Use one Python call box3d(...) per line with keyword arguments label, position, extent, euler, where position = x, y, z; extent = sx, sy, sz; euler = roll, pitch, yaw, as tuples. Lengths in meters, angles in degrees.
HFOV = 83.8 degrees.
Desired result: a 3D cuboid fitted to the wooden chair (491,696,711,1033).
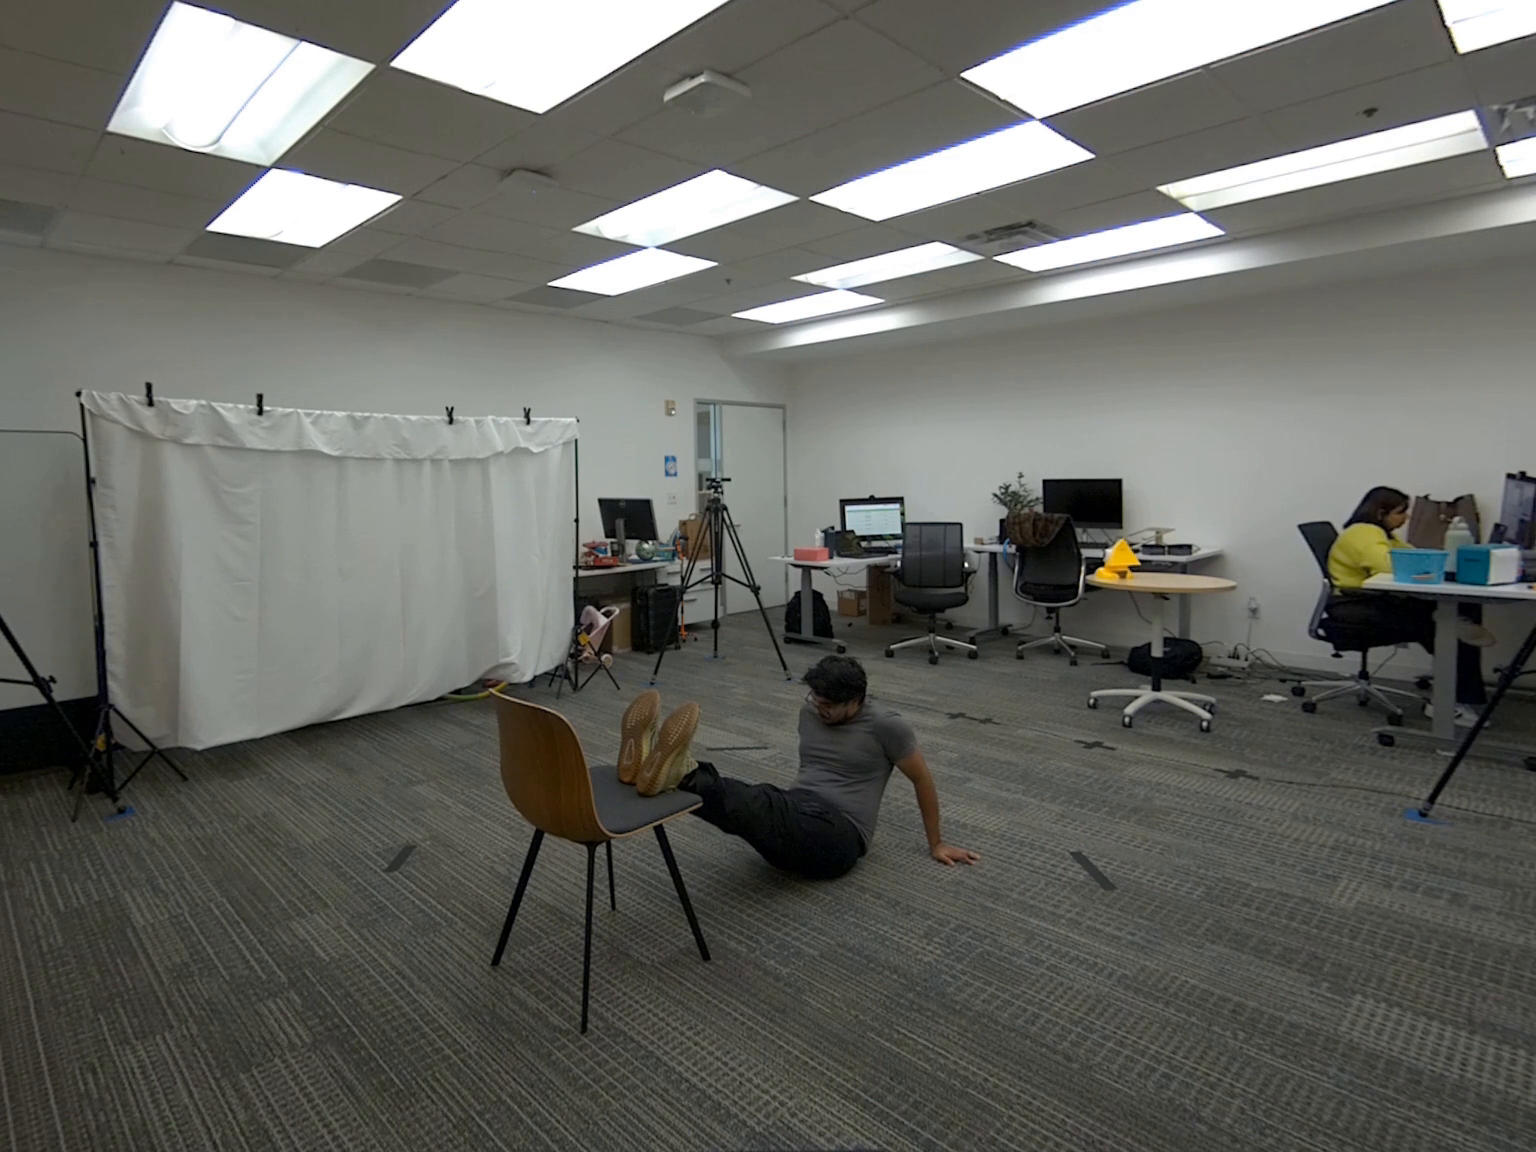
box3d(label="wooden chair", position=(-0.482, 0.704, 2.452), extent=(0.493, 0.871, 0.511), euler=(3, 10, 43))
